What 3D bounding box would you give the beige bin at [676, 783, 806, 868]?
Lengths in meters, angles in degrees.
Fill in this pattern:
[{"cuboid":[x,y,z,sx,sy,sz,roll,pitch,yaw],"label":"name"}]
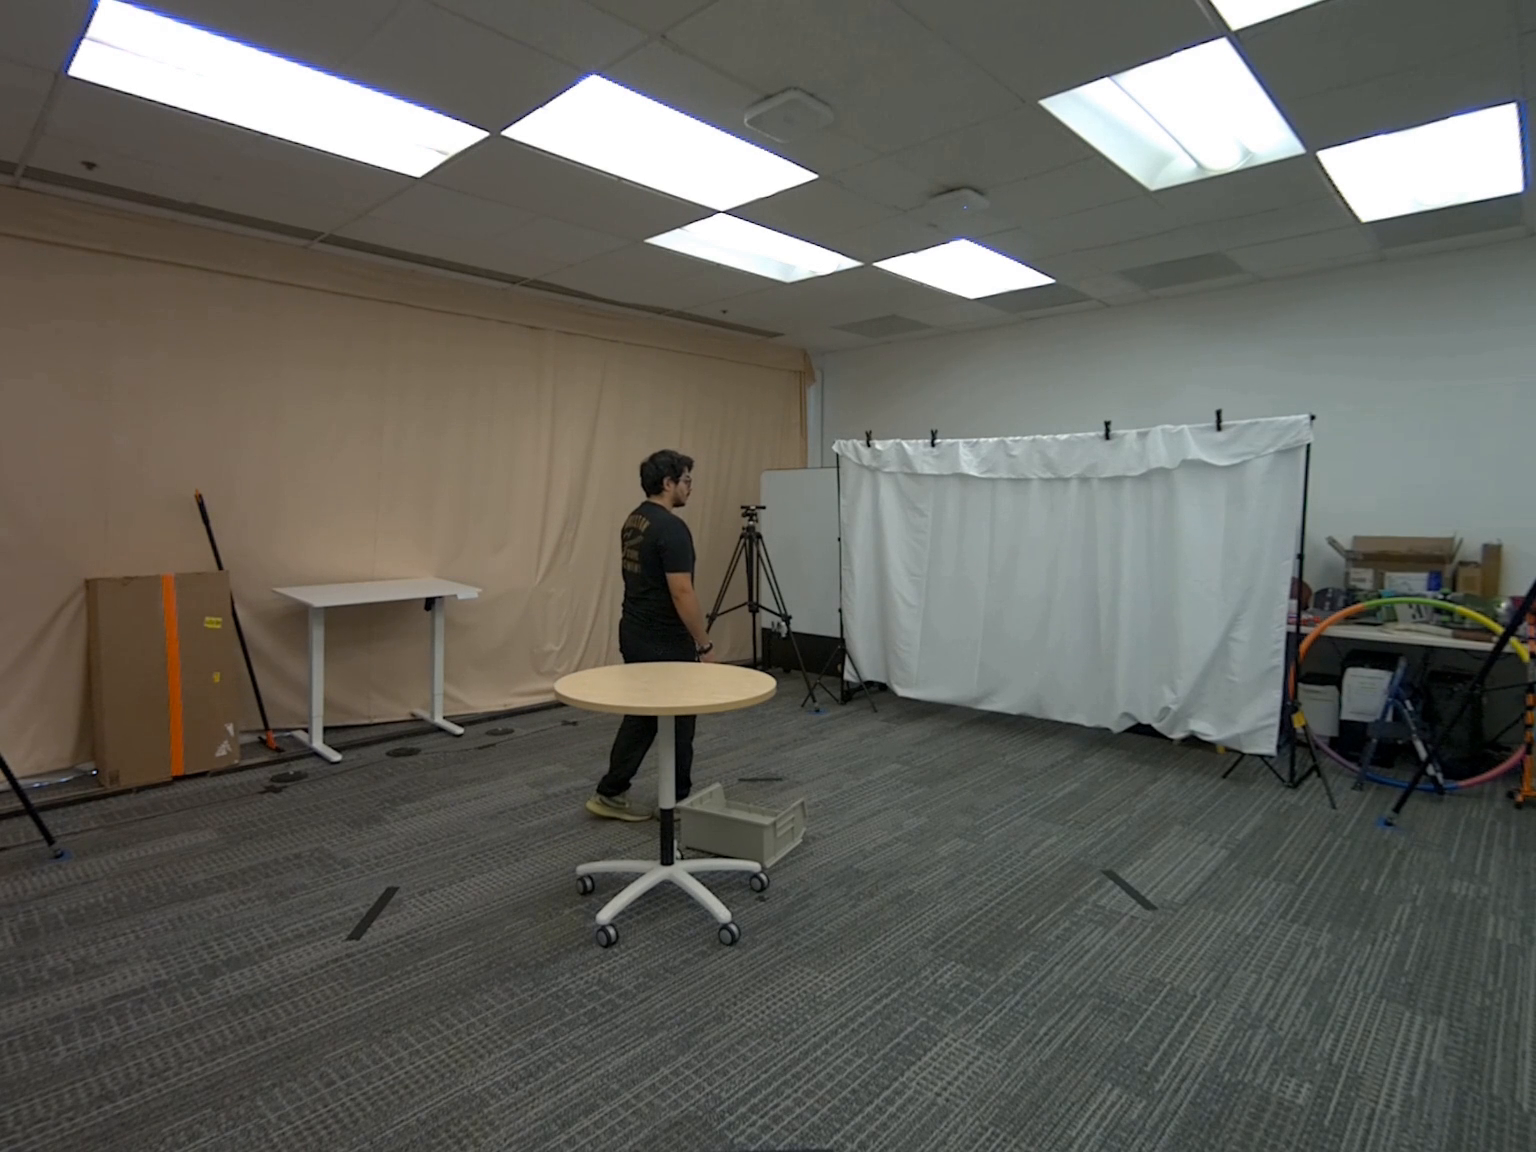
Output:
[{"cuboid":[-0.104,1.014,3.477,0.434,0.188,0.368,2,6,29],"label":"beige bin"}]
